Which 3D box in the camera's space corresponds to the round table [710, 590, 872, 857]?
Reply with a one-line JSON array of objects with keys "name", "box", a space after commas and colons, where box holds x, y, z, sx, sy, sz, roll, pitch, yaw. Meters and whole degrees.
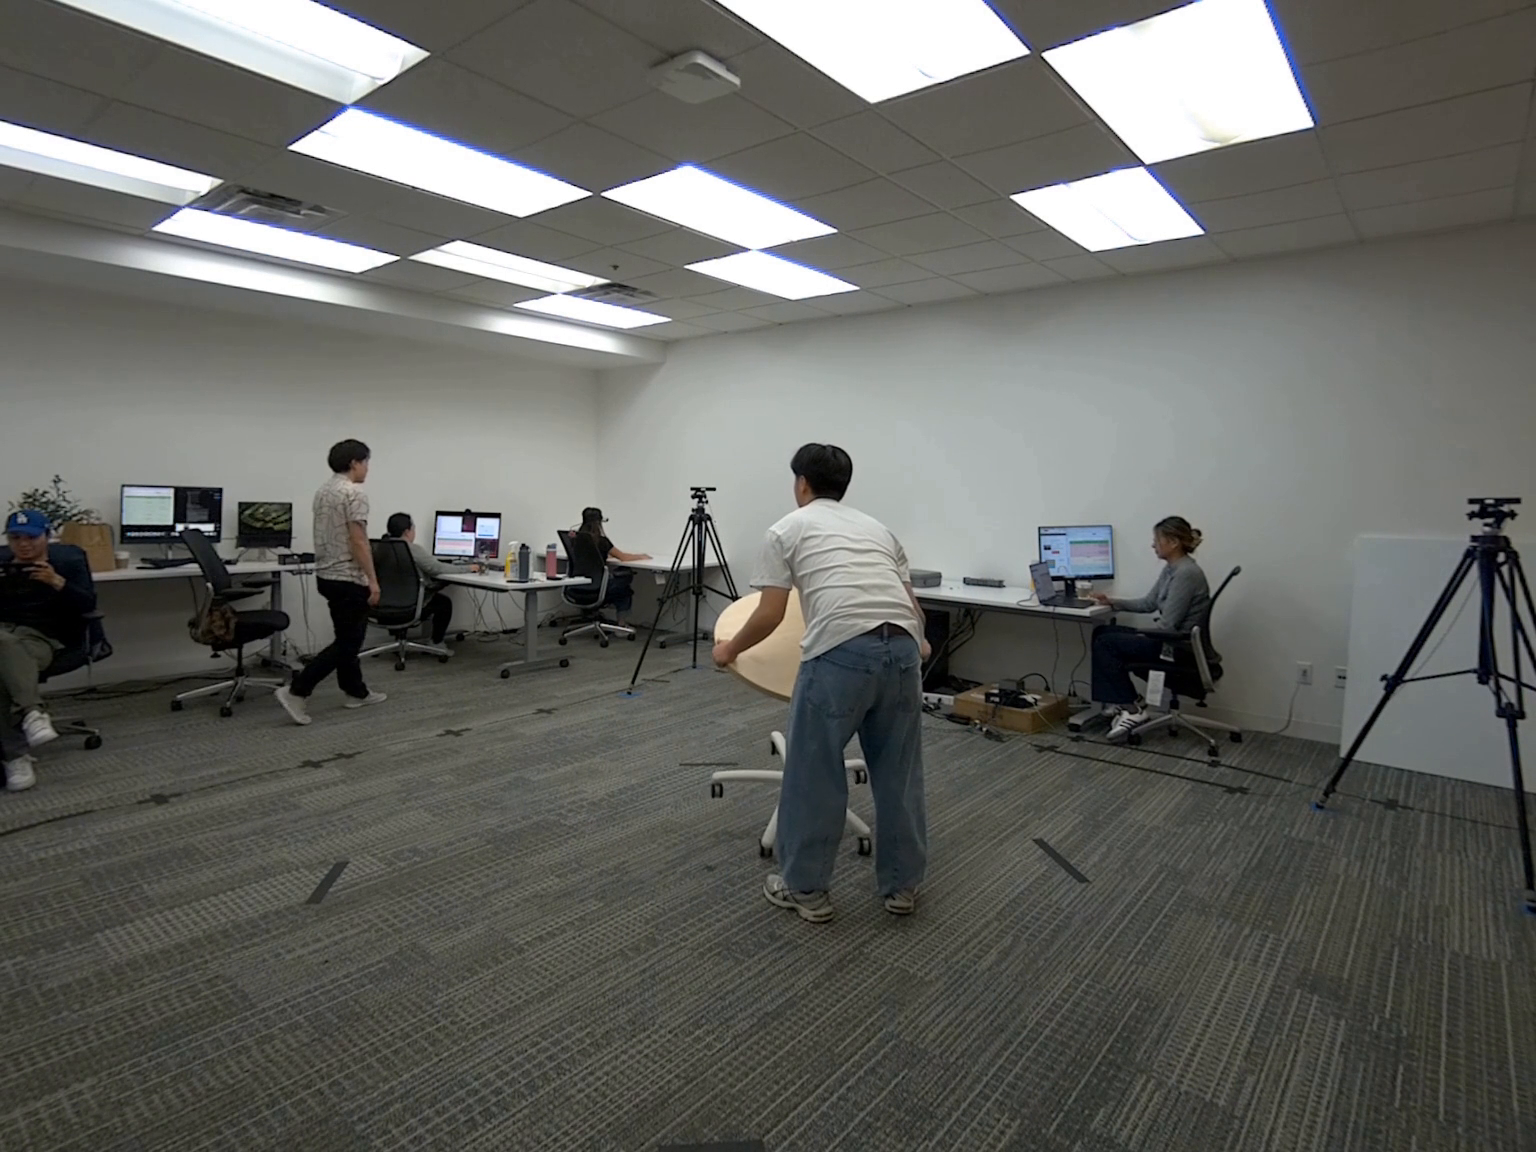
[{"name": "round table", "box": [0.124, 0.575, 3.328, 0.783, 0.771, 0.804, 3, 26, -4]}]
